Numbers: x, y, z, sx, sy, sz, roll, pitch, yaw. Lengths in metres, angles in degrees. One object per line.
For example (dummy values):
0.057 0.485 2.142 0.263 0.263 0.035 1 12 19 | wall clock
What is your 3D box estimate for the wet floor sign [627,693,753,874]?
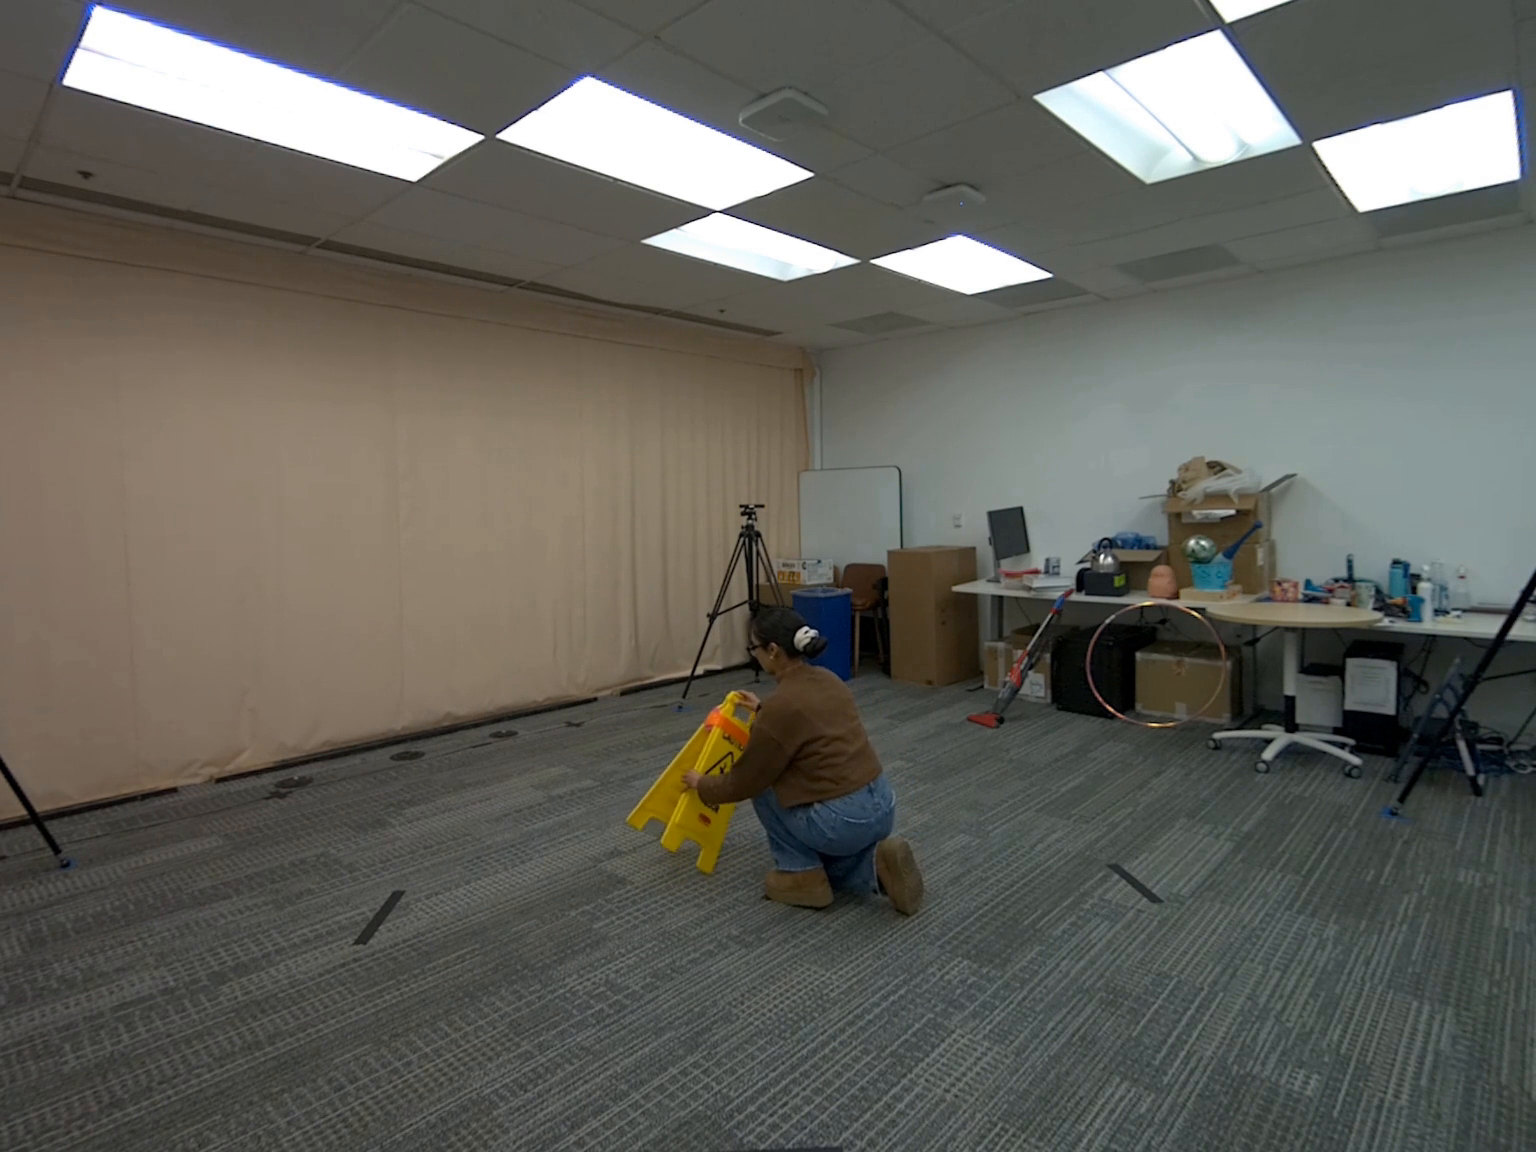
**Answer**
-0.229 0.783 3.323 0.273 0.646 0.299 41 -20 -31 | wet floor sign
